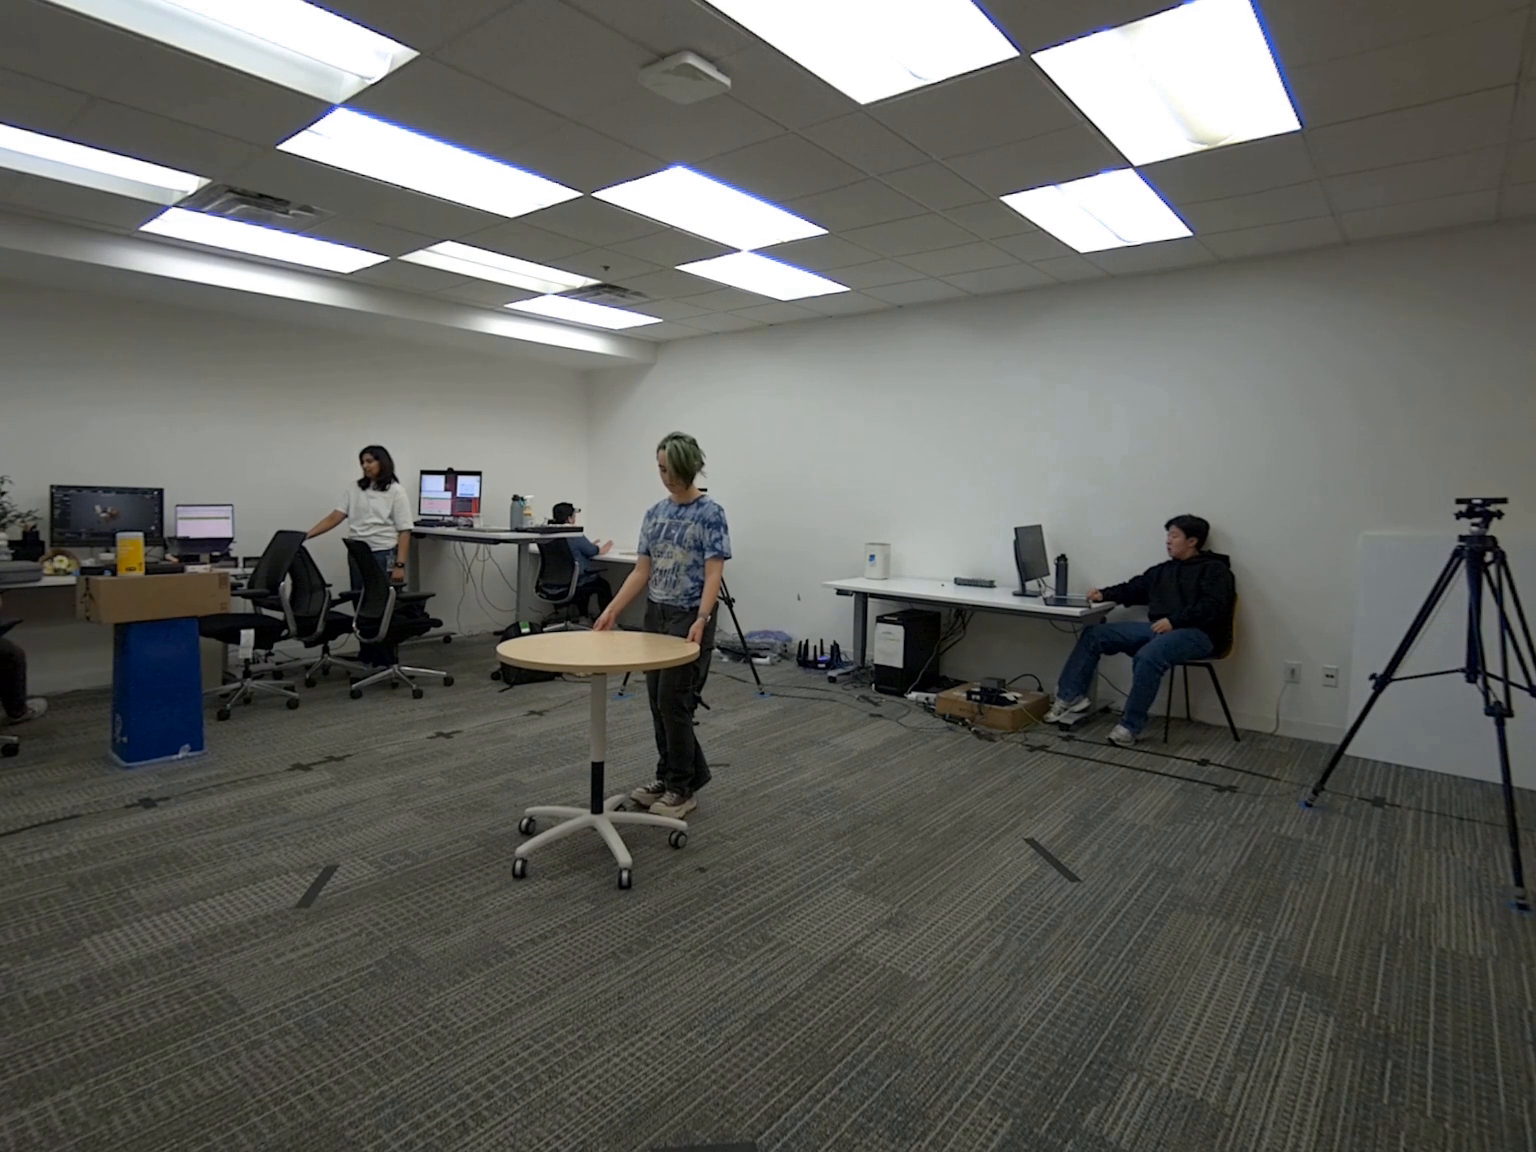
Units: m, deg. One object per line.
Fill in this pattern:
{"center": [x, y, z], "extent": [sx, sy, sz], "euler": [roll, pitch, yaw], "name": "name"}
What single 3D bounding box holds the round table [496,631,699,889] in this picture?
{"center": [-0.664, 0.660, 3.249], "extent": [0.763, 0.792, 0.767], "euler": [1, 3, -2], "name": "round table"}
